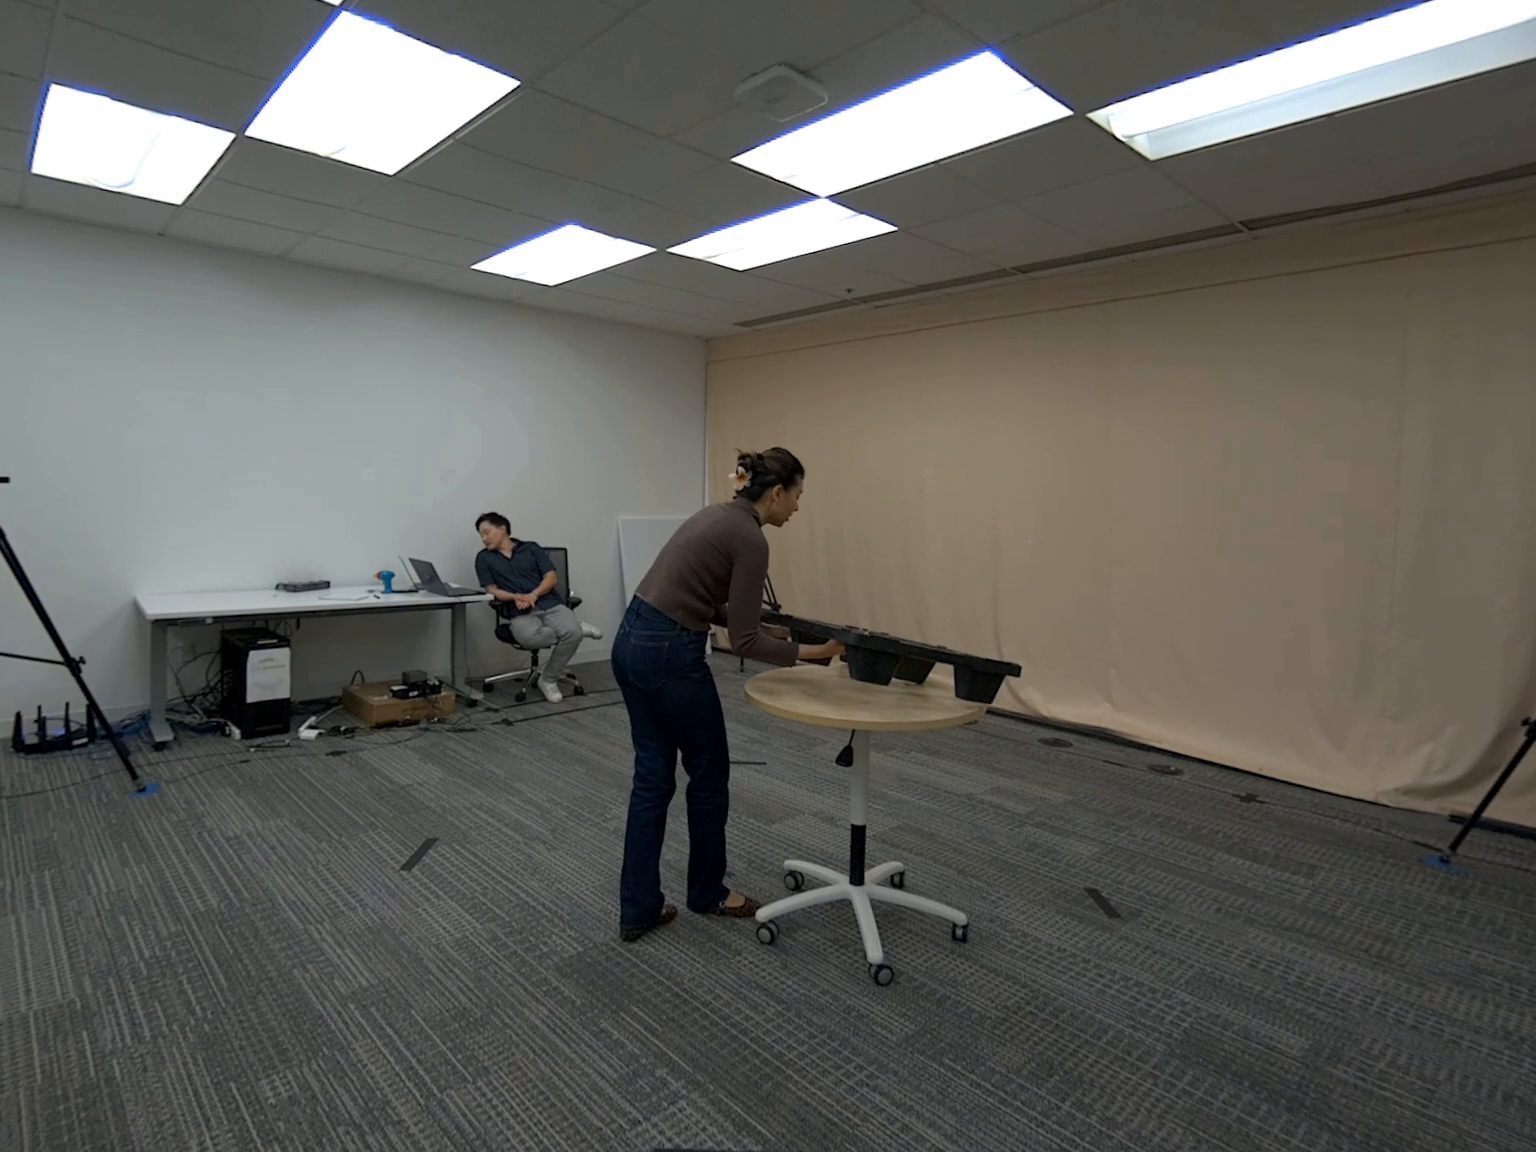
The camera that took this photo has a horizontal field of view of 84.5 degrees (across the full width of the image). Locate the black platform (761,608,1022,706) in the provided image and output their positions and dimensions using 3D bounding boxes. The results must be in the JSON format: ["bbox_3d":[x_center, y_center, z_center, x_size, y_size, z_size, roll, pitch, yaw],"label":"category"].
[{"bbox_3d":[0.316,0.247,2.745,0.593,0.143,0.821,12,-1,-24],"label":"black platform"}]
